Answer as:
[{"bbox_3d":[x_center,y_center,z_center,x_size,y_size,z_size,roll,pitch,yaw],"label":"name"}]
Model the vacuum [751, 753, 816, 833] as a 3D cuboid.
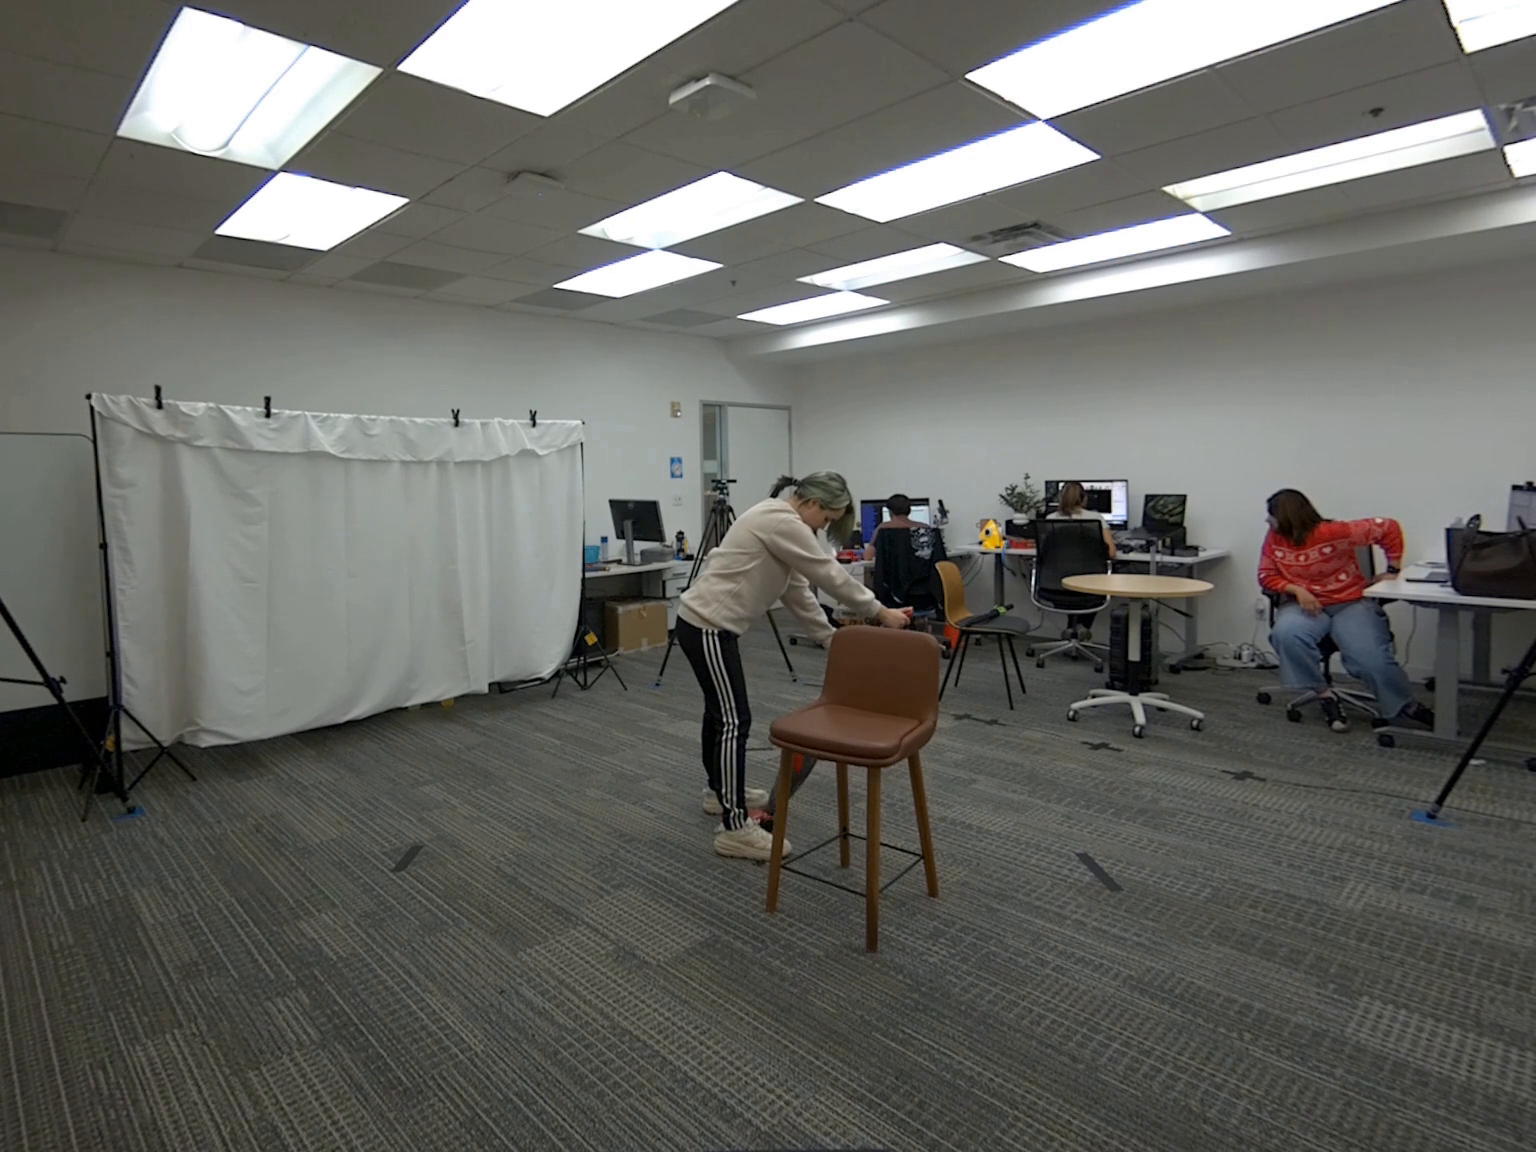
[{"bbox_3d":[0.270,0.568,3.413,0.141,1.049,0.258,35,2,-19],"label":"vacuum"}]
